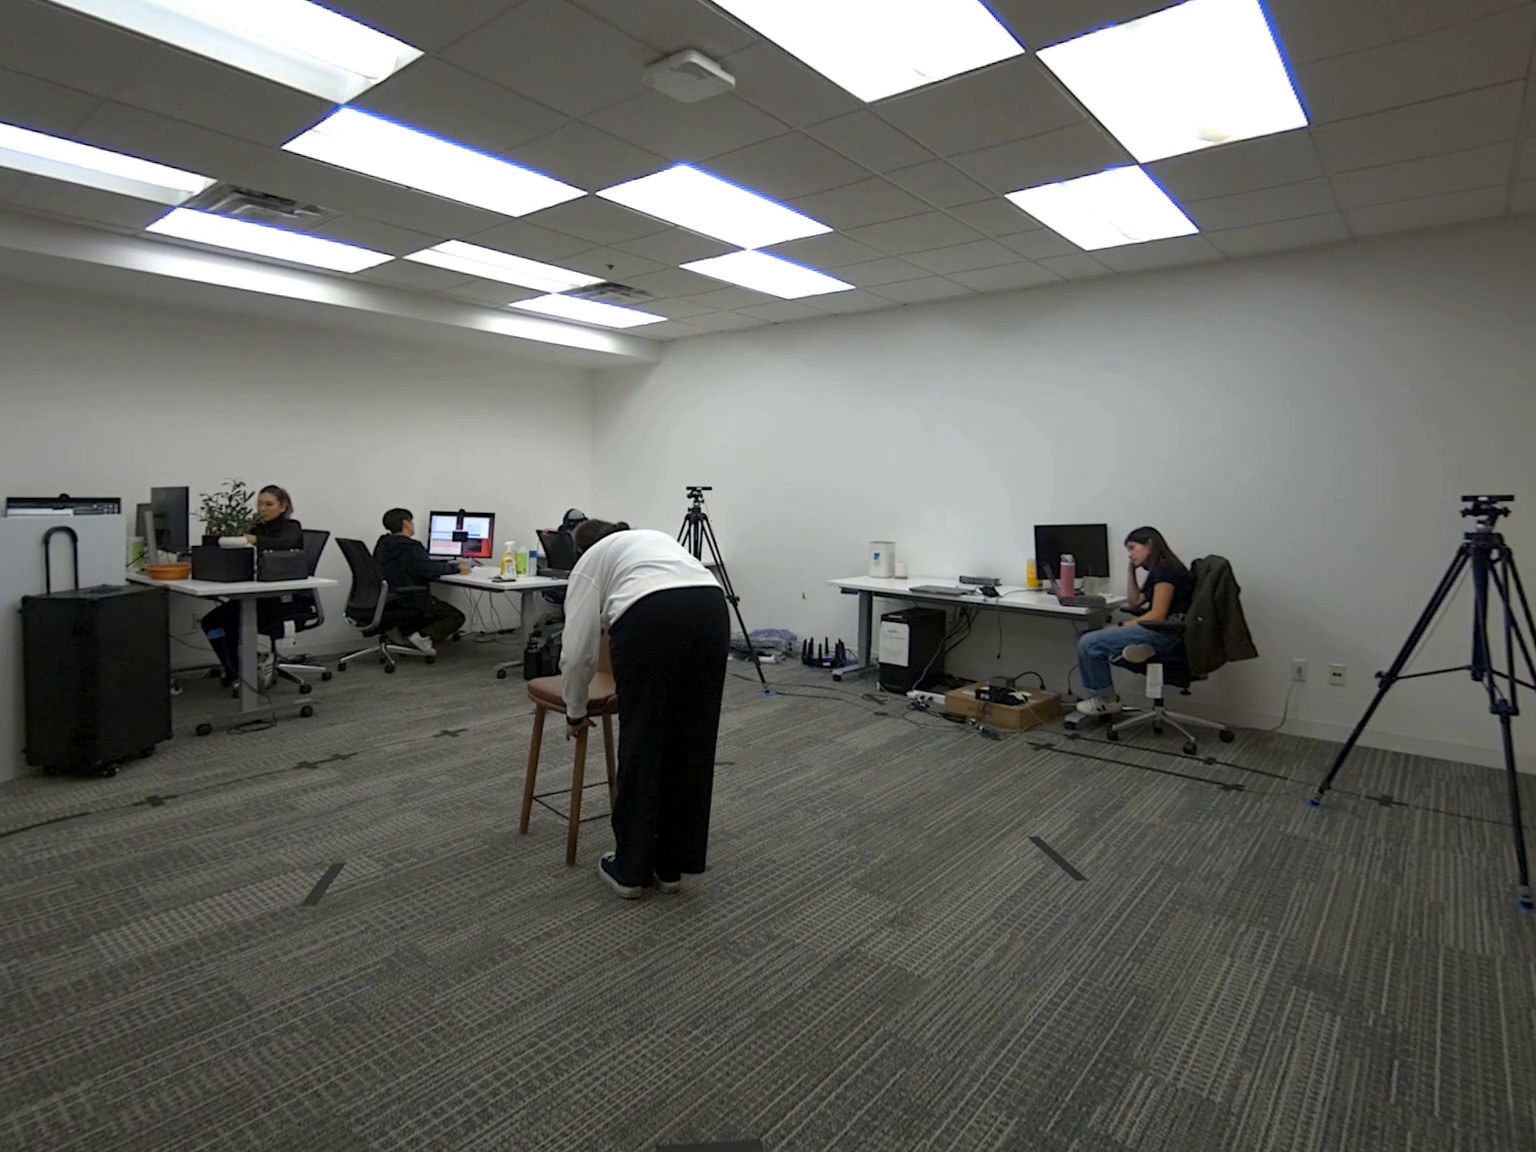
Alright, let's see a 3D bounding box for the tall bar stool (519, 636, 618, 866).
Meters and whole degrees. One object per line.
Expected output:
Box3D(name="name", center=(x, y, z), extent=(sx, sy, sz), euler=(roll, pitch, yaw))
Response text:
Box3D(name="tall bar stool", center=(-0.691, 0.594, 3.383), extent=(0.453, 0.889, 0.472), euler=(1, 2, -42))
